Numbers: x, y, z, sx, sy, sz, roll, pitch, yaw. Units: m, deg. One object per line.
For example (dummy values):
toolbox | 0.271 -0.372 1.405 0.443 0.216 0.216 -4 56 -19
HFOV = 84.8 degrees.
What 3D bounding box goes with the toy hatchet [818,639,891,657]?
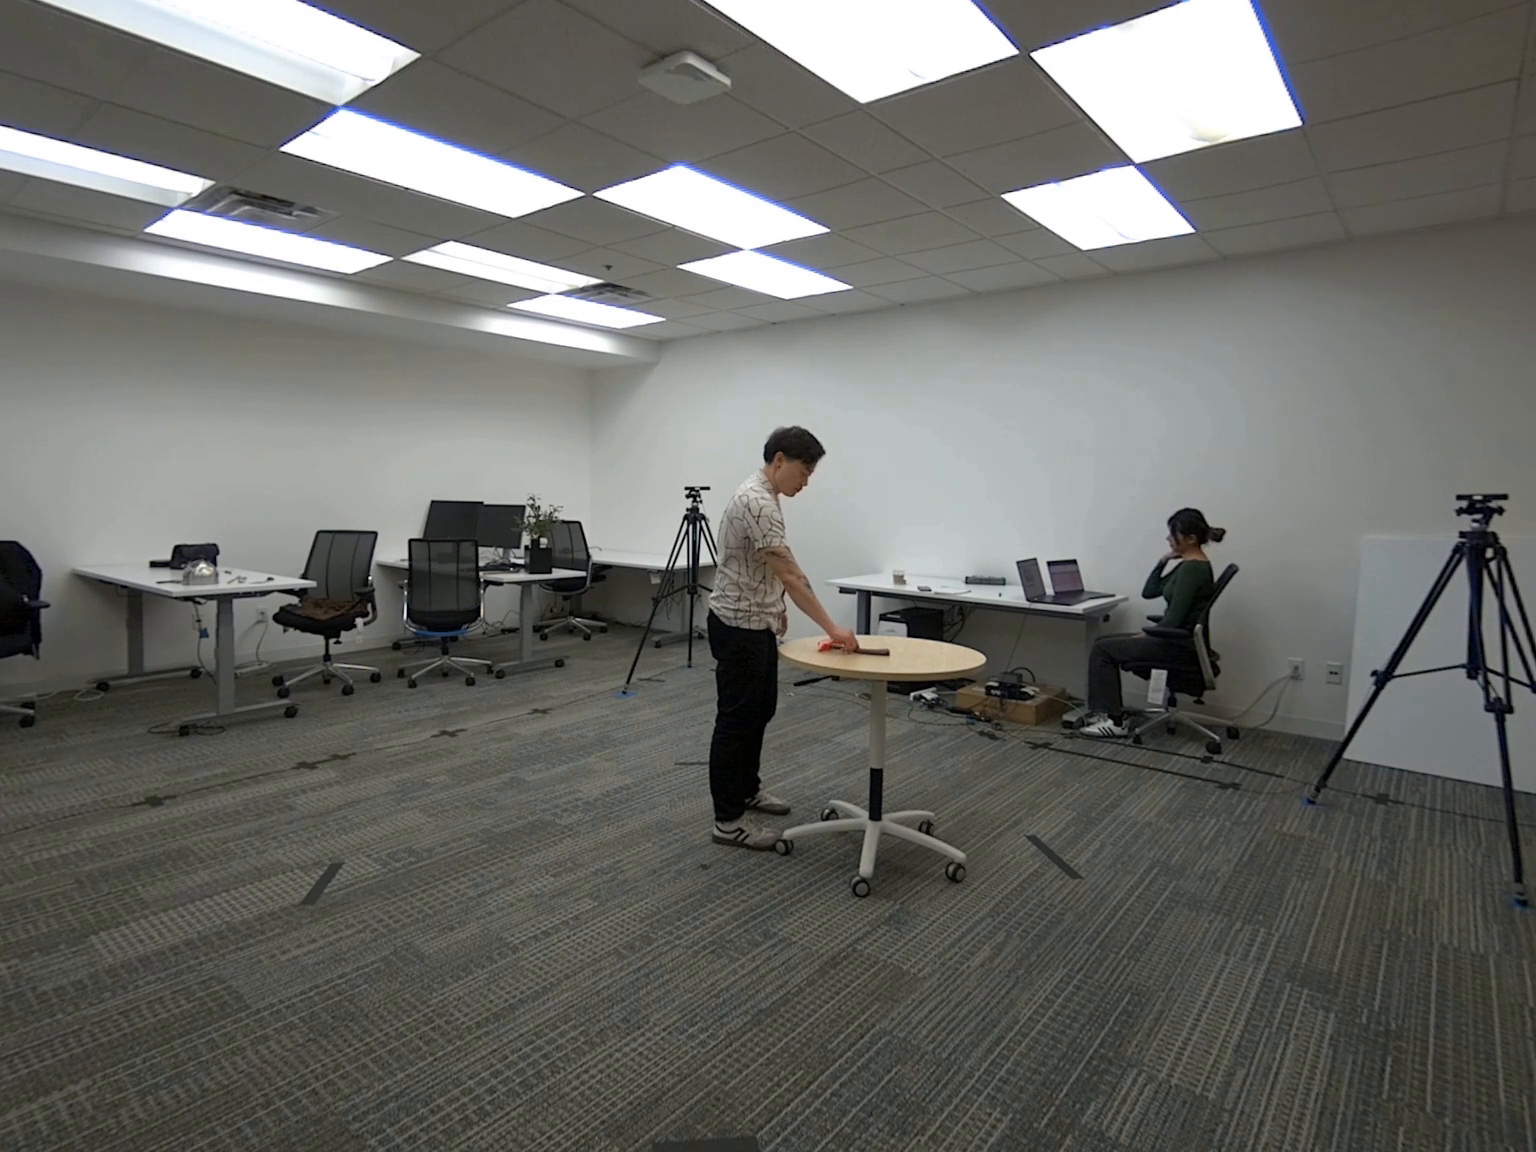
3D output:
toy hatchet | 0.319 0.265 3.217 0.273 0.029 0.131 3 16 9
